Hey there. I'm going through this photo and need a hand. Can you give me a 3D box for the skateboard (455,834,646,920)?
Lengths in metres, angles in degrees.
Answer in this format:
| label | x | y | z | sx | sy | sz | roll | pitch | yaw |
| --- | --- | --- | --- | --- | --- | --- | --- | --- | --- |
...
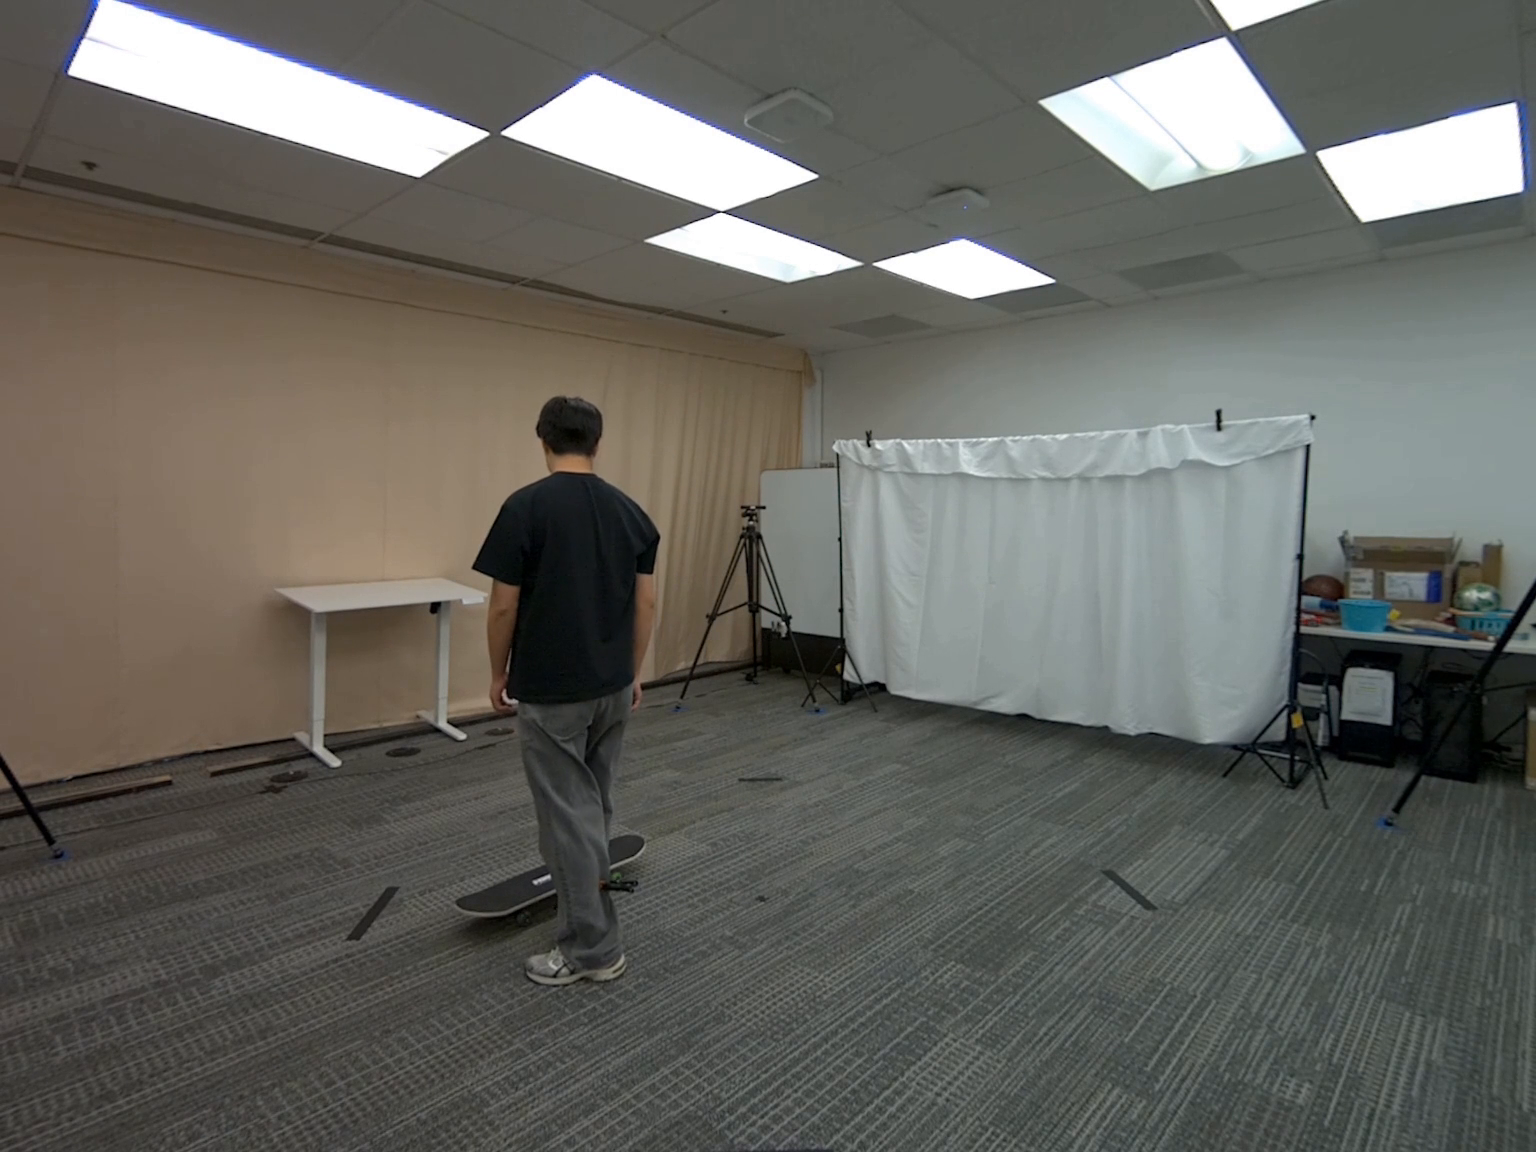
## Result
| label | x | y | z | sx | sy | sz | roll | pitch | yaw |
| --- | --- | --- | --- | --- | --- | --- | --- | --- | --- |
| skateboard | -0.748 | 1.094 | 2.995 | 0.200 | 0.110 | 0.762 | 3 | 6 | 40 |
